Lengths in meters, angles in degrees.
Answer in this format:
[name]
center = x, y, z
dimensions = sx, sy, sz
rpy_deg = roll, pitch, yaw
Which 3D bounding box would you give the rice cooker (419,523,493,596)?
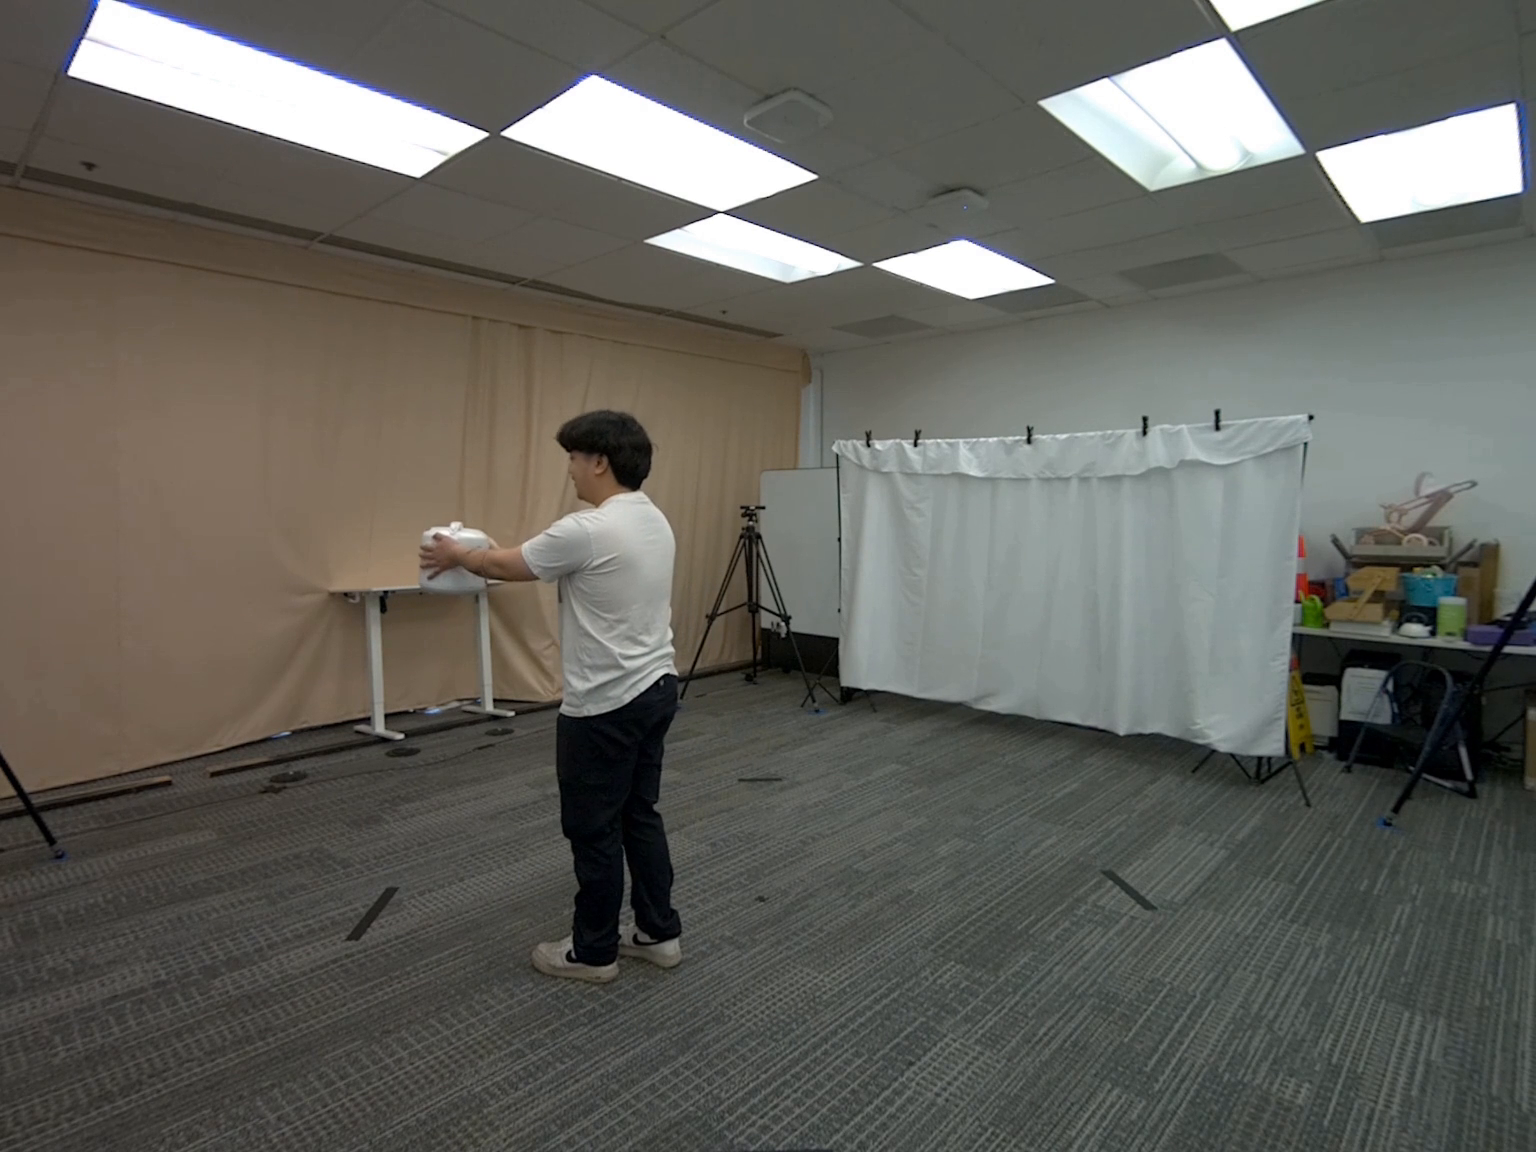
[rice cooker]
center = -1.017, -0.060, 2.743
dimensions = 0.215, 0.232, 0.224
rpy_deg = 4, 5, -10
